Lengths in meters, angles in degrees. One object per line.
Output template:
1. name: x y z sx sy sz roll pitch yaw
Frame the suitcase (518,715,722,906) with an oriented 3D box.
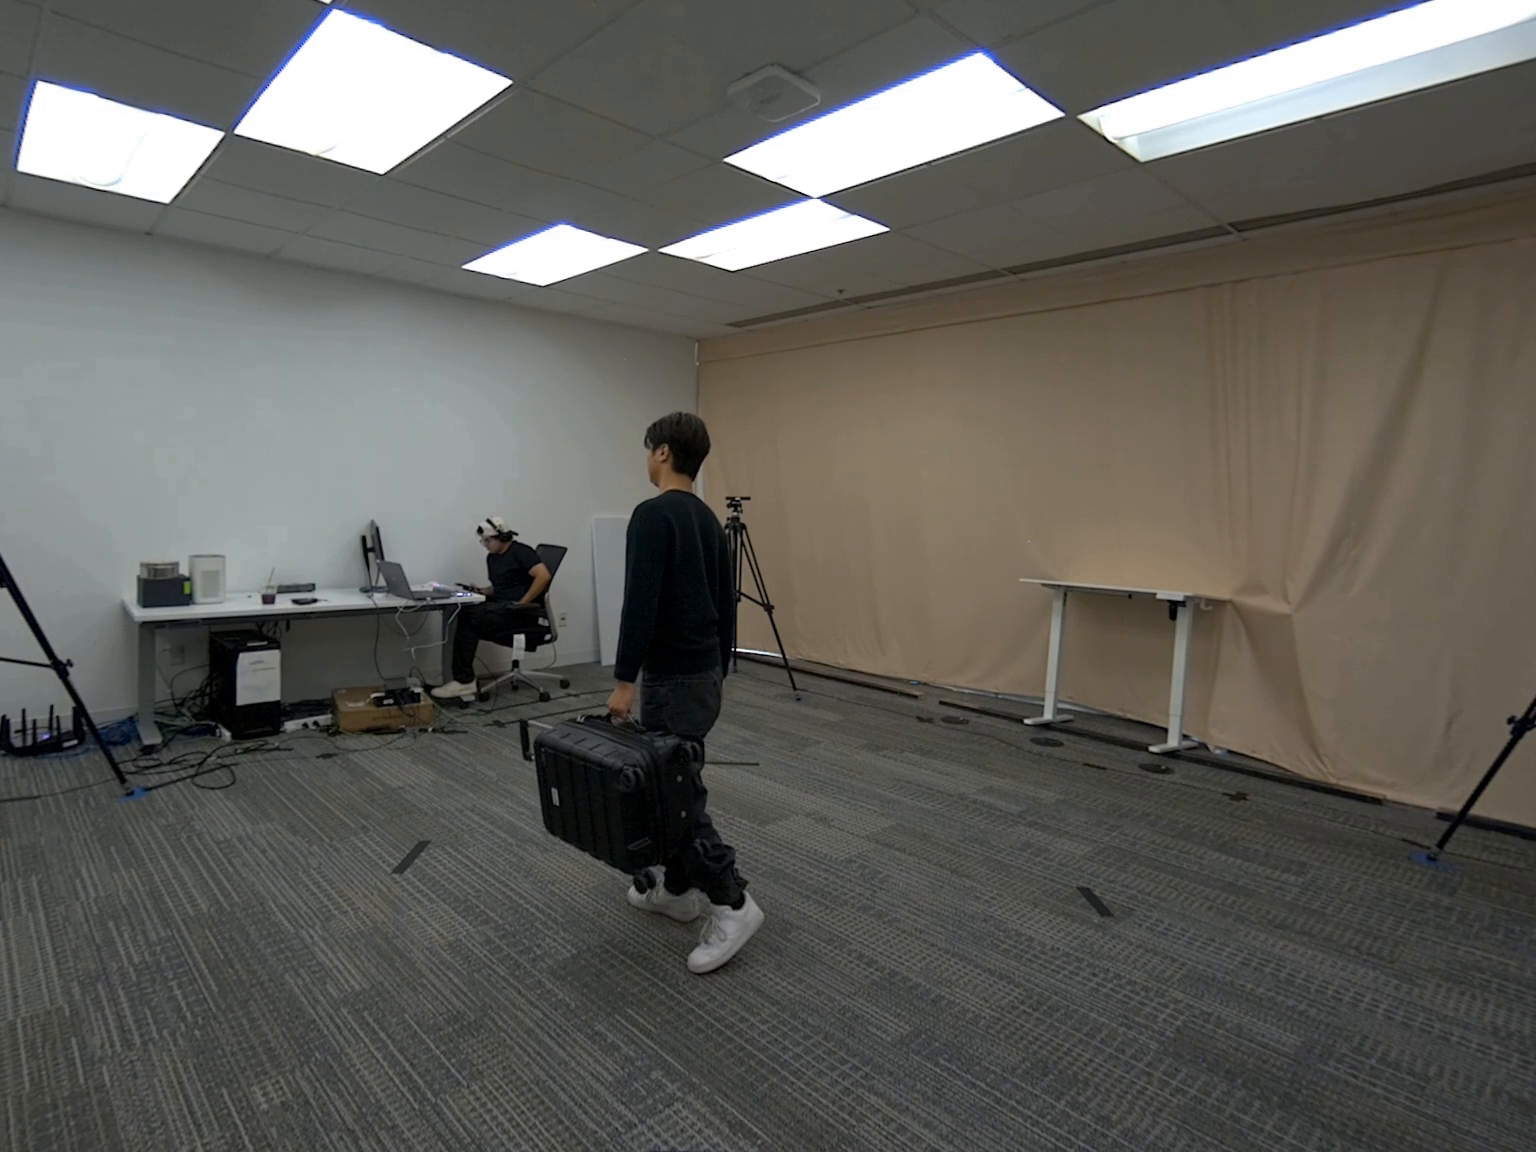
1. suitcase: -0.619 0.635 2.652 1.003 0.381 0.252 3 12 44
